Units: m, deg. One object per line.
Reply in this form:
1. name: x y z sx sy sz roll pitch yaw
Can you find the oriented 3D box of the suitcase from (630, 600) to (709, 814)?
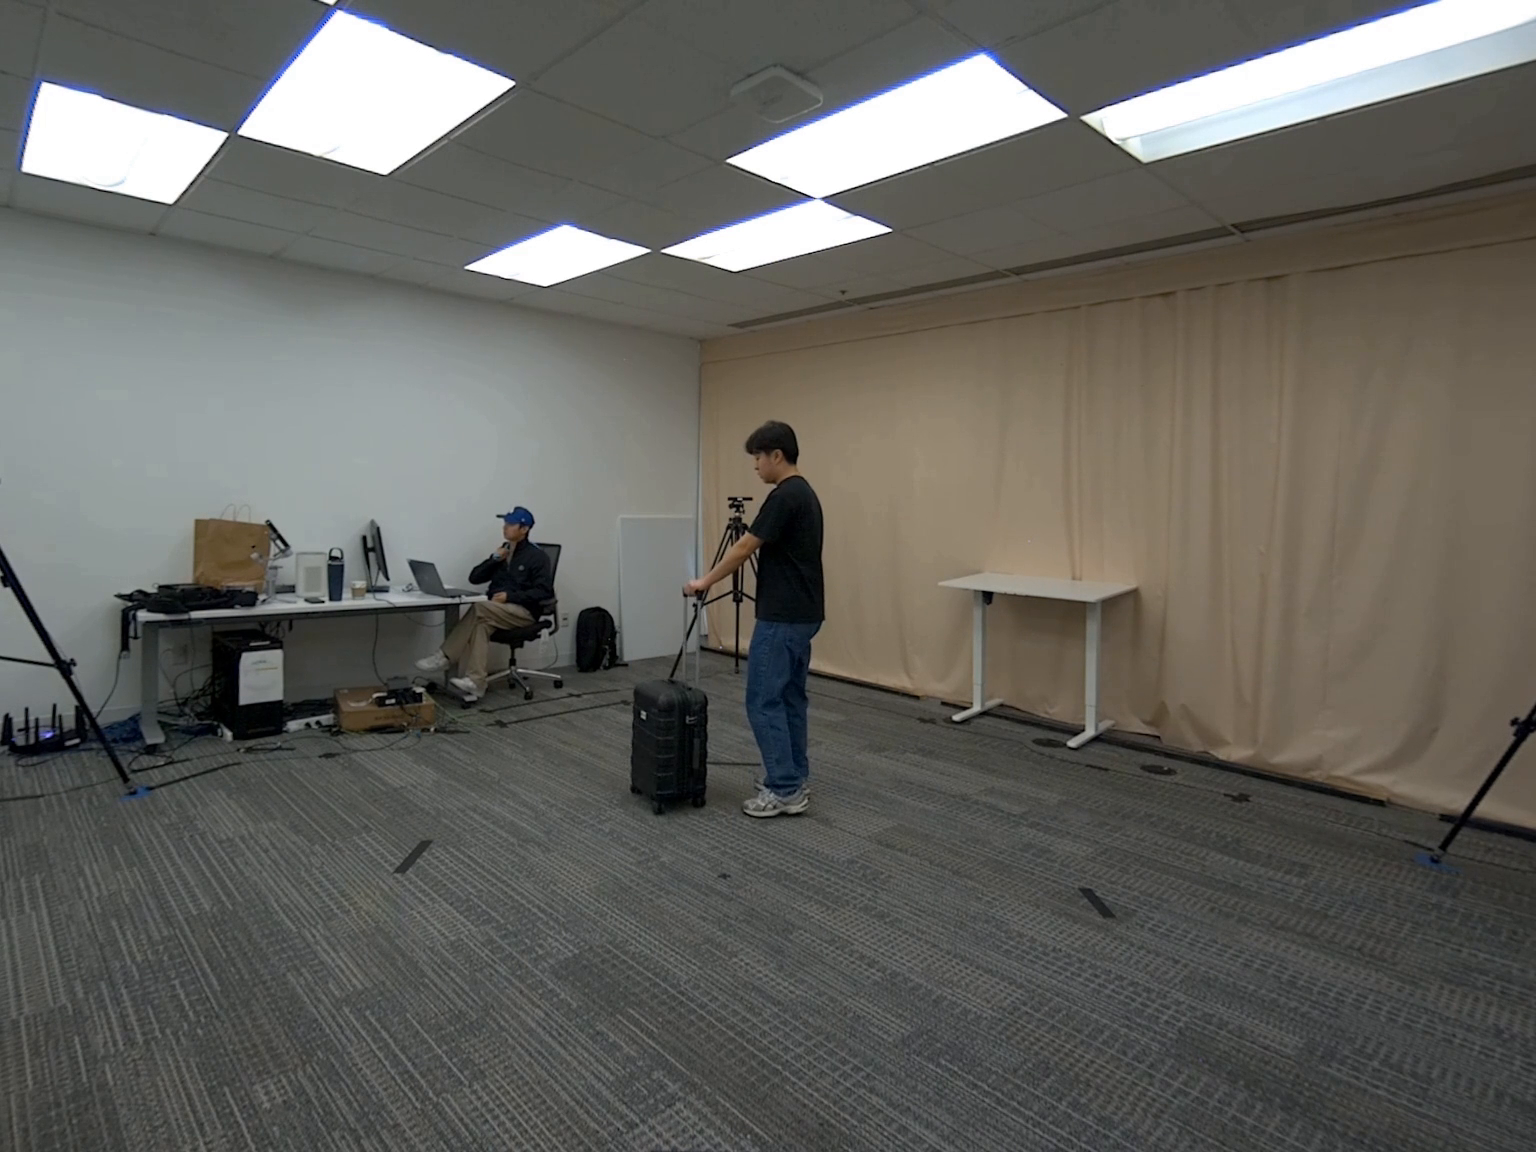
1. suitcase: -0.462 0.560 3.844 0.252 0.976 0.392 -2 4 -29
